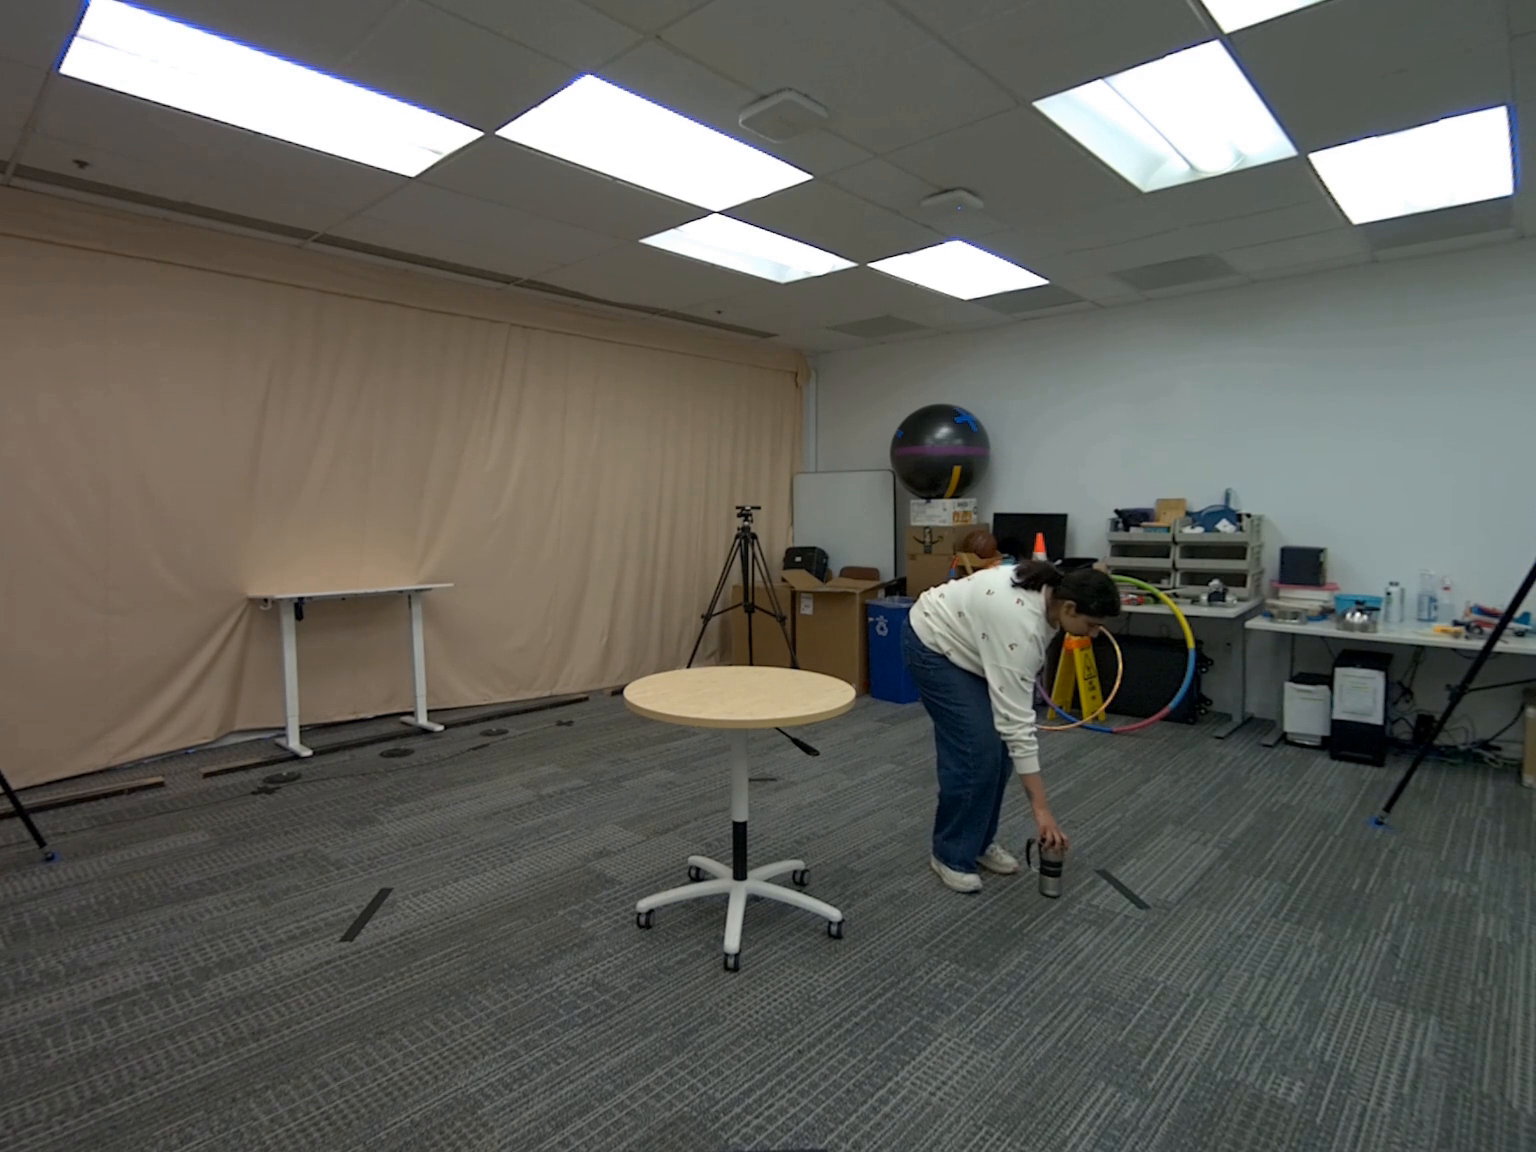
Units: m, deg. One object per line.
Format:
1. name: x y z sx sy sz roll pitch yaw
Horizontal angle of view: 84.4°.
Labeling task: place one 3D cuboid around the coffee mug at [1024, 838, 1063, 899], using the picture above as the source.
1. coffee mug: 0.930 0.962 2.830 0.126 0.201 0.085 8 14 37
